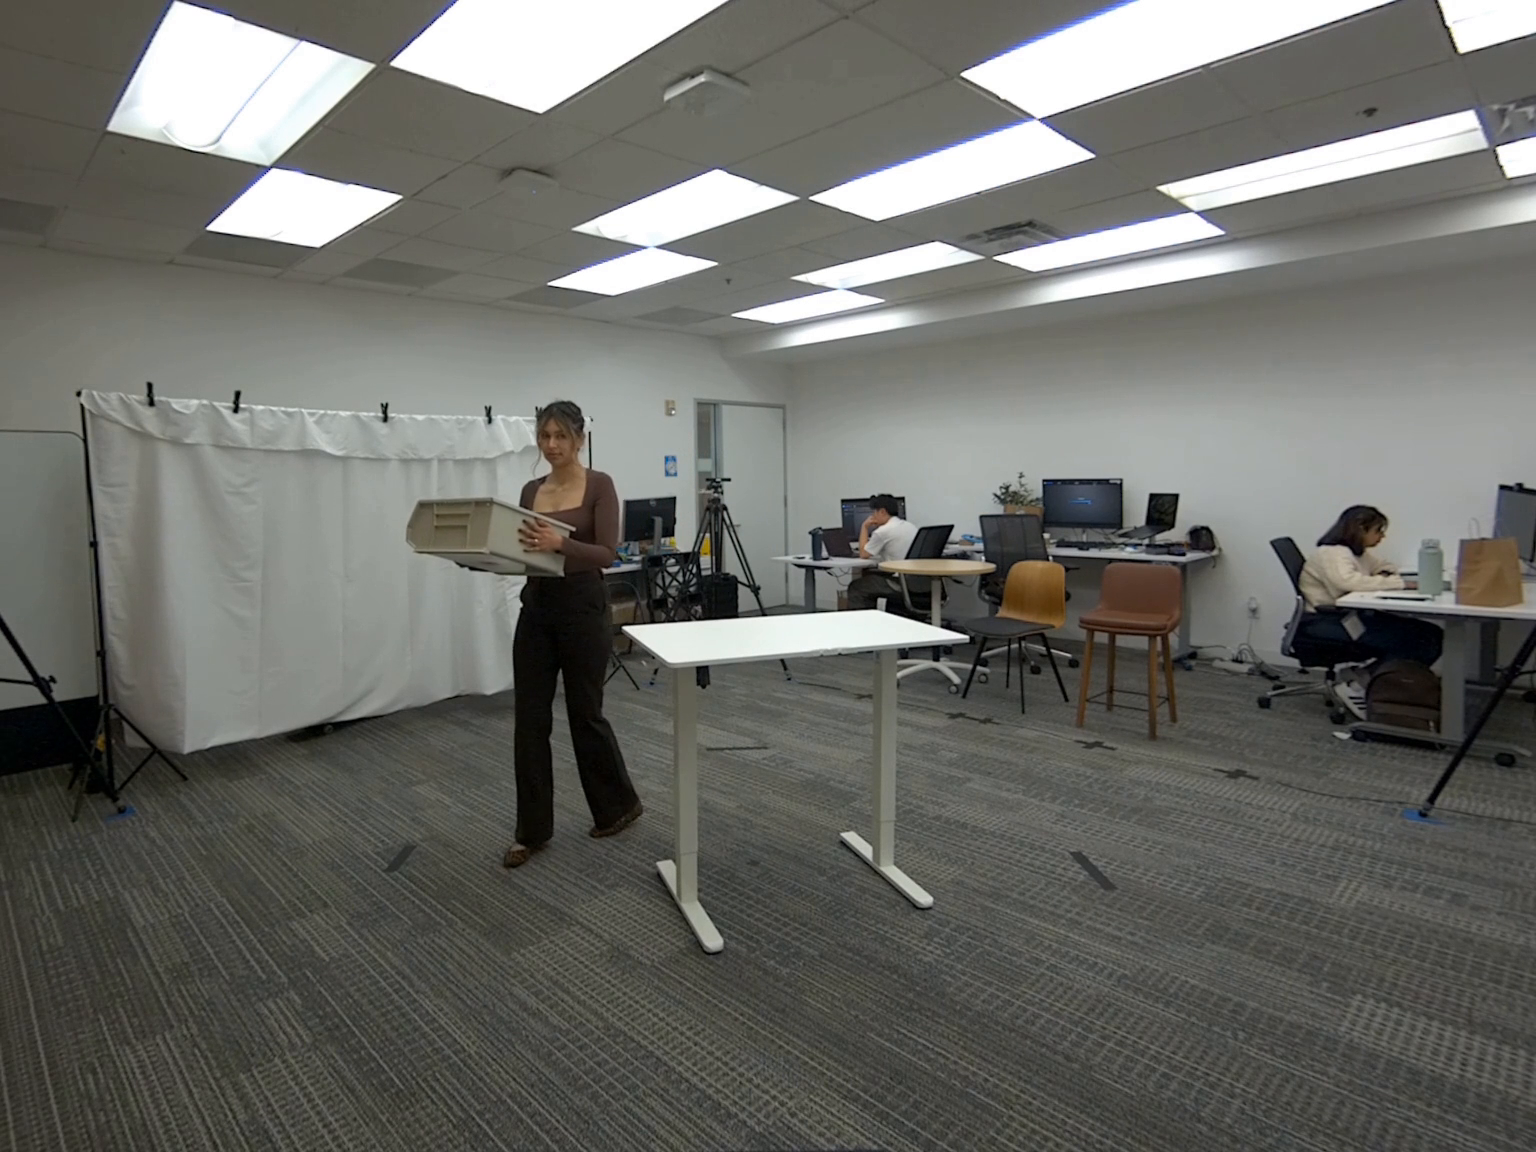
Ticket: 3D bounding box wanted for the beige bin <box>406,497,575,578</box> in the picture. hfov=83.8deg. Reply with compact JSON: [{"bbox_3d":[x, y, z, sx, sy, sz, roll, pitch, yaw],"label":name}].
[{"bbox_3d":[-0.959,-0.128,2.960,0.387,0.190,0.408,2,-10,28],"label":"beige bin"}]
